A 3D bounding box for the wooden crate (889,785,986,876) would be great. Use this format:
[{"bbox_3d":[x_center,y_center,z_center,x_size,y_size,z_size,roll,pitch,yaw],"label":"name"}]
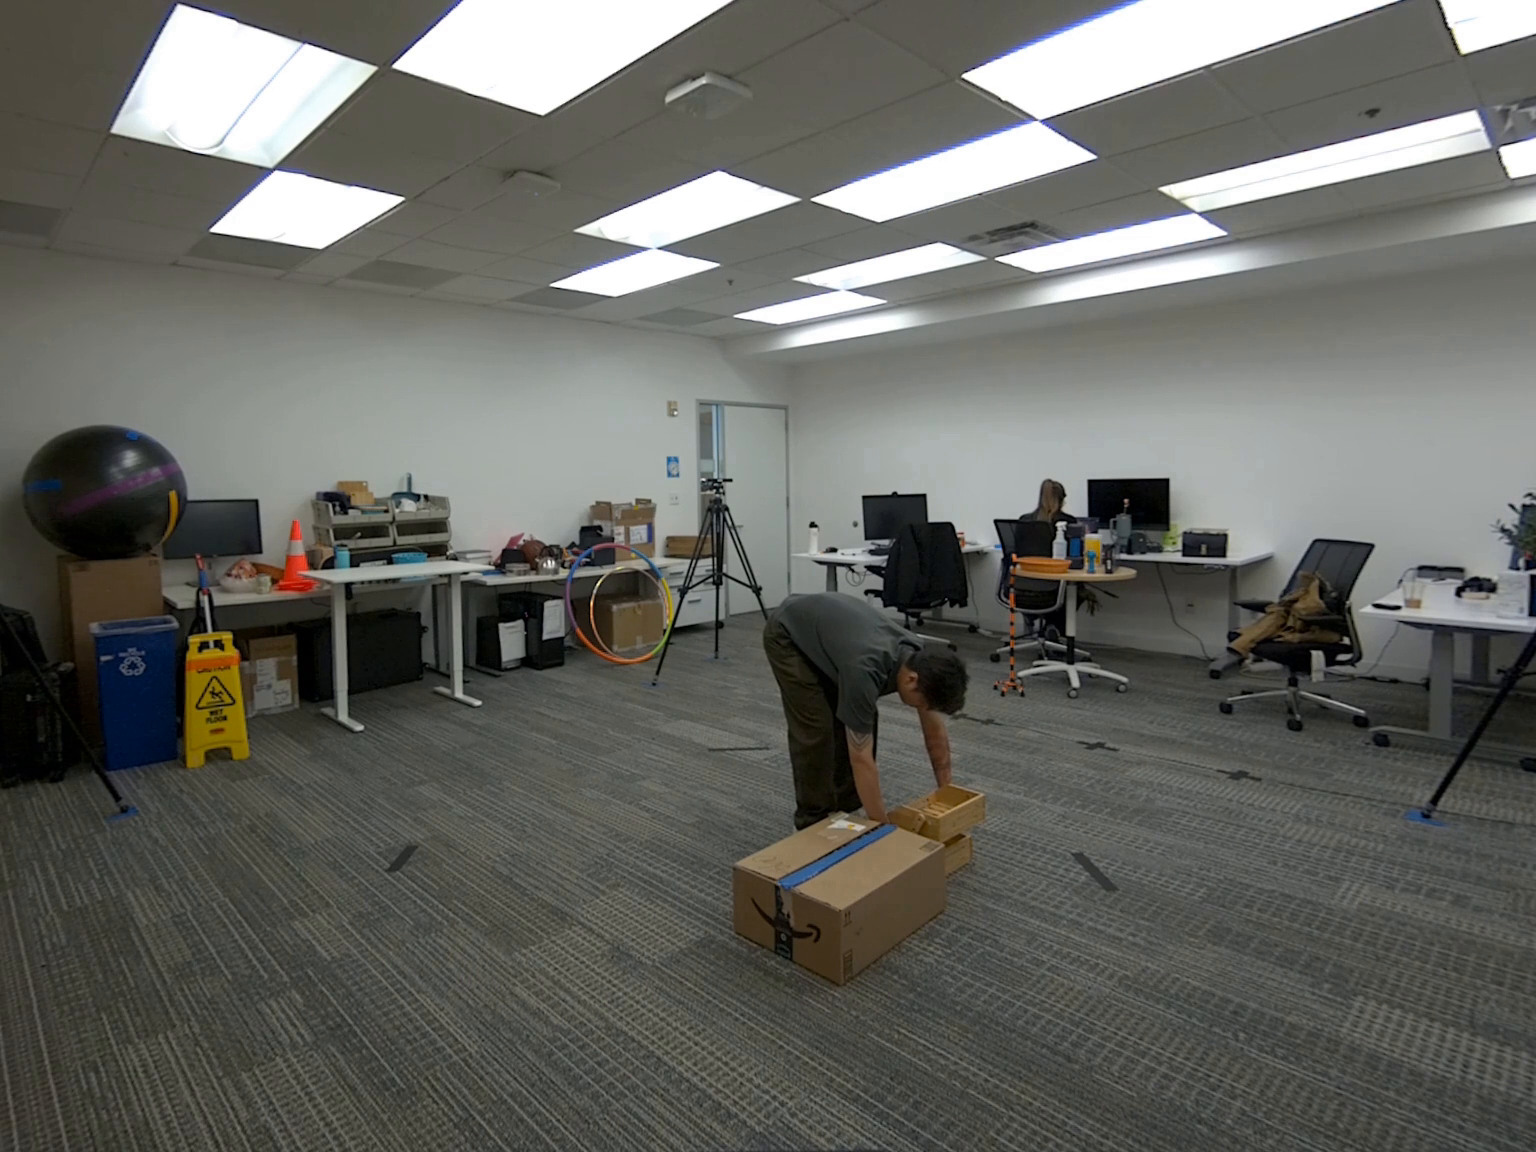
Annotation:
[{"bbox_3d":[0.566,0.907,3.053,0.316,0.272,0.311,-5,7,-44],"label":"wooden crate"}]
